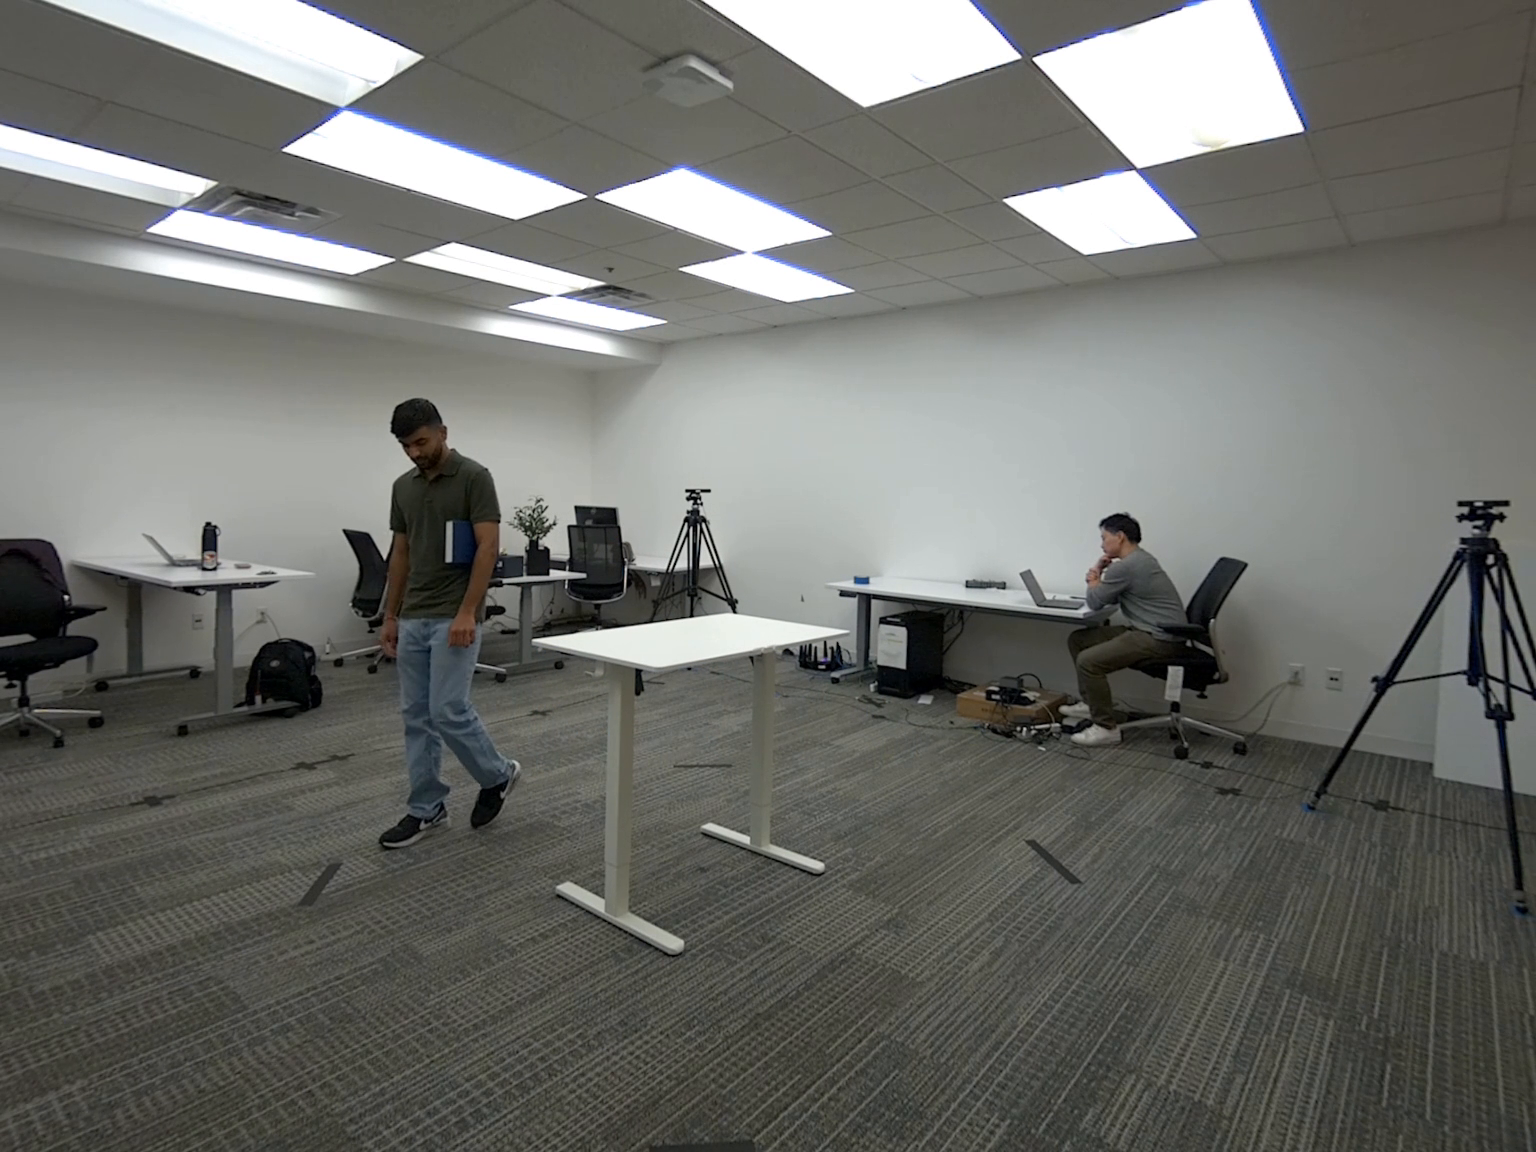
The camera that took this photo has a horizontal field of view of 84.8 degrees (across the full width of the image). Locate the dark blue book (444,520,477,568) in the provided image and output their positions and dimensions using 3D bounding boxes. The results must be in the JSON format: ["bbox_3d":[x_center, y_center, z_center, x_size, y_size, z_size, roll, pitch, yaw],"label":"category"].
[{"bbox_3d":[-1.161,-0.130,3.312,0.046,0.164,0.238,-3,-2,28],"label":"dark blue book"}]
